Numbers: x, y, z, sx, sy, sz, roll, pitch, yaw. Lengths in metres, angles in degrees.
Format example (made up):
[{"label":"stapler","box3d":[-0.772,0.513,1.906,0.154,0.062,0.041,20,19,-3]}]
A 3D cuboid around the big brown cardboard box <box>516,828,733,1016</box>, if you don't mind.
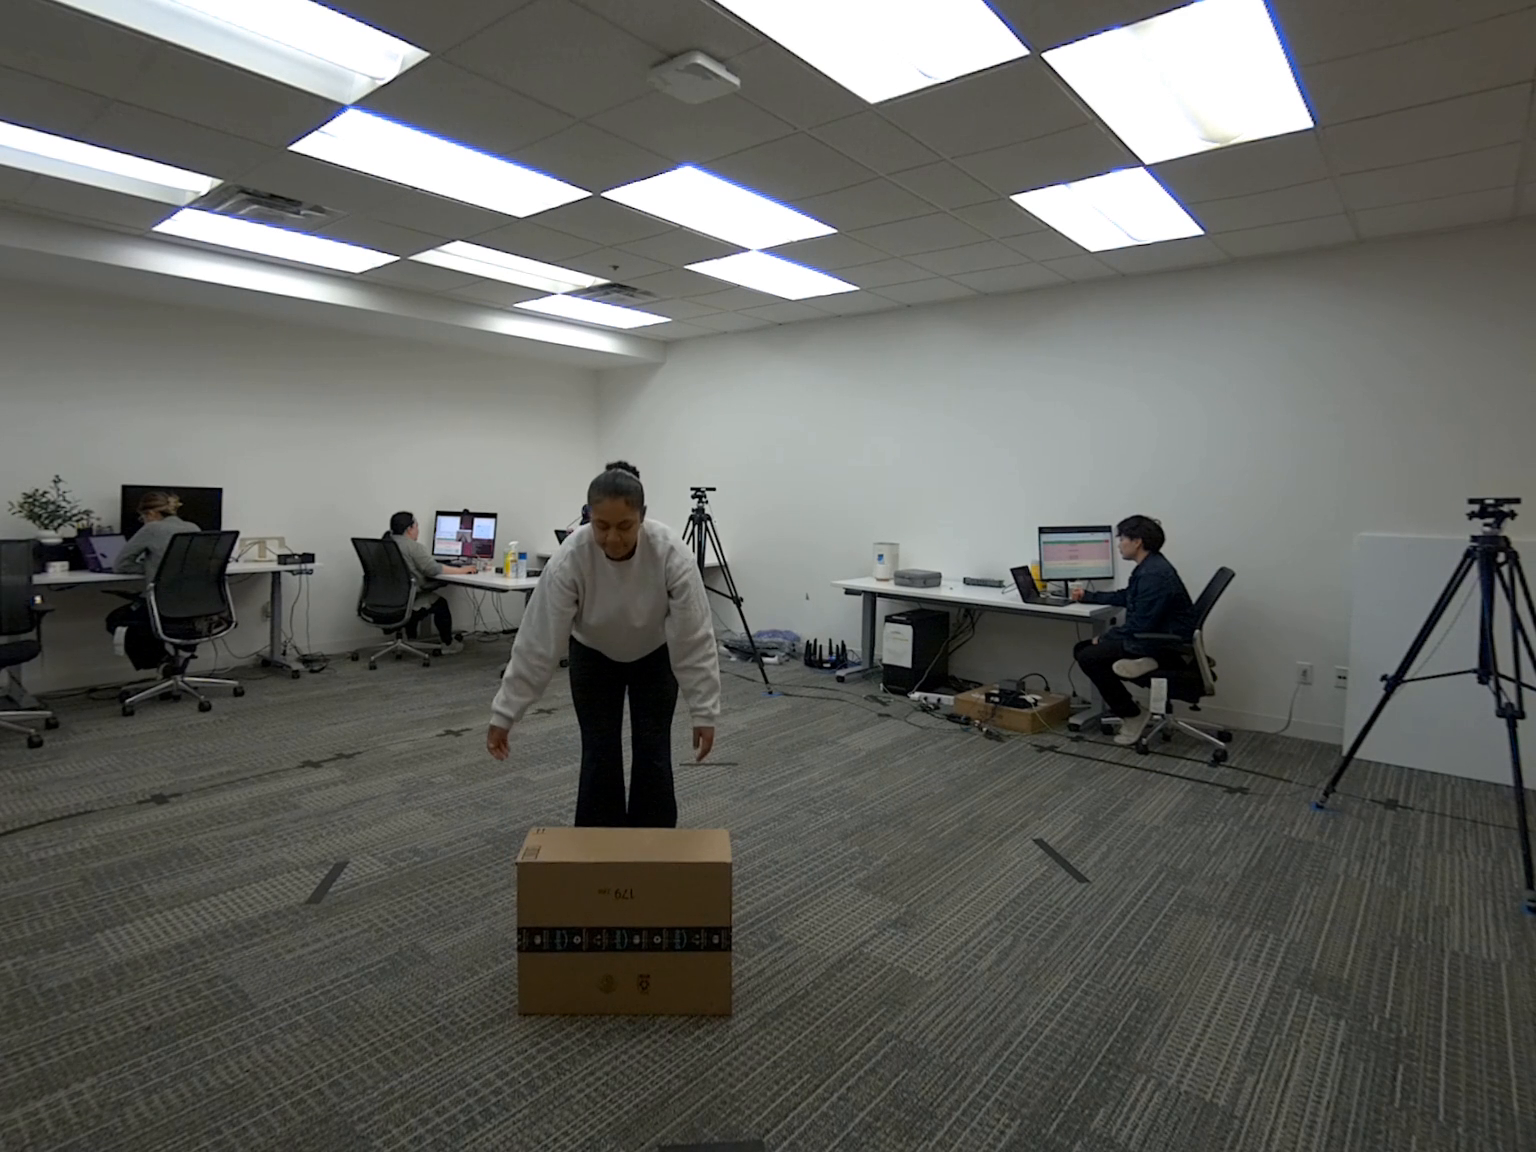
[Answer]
[{"label":"big brown cardboard box","box3d":[-0.395,0.934,2.323,0.588,0.416,0.234,1,5,-1]}]
